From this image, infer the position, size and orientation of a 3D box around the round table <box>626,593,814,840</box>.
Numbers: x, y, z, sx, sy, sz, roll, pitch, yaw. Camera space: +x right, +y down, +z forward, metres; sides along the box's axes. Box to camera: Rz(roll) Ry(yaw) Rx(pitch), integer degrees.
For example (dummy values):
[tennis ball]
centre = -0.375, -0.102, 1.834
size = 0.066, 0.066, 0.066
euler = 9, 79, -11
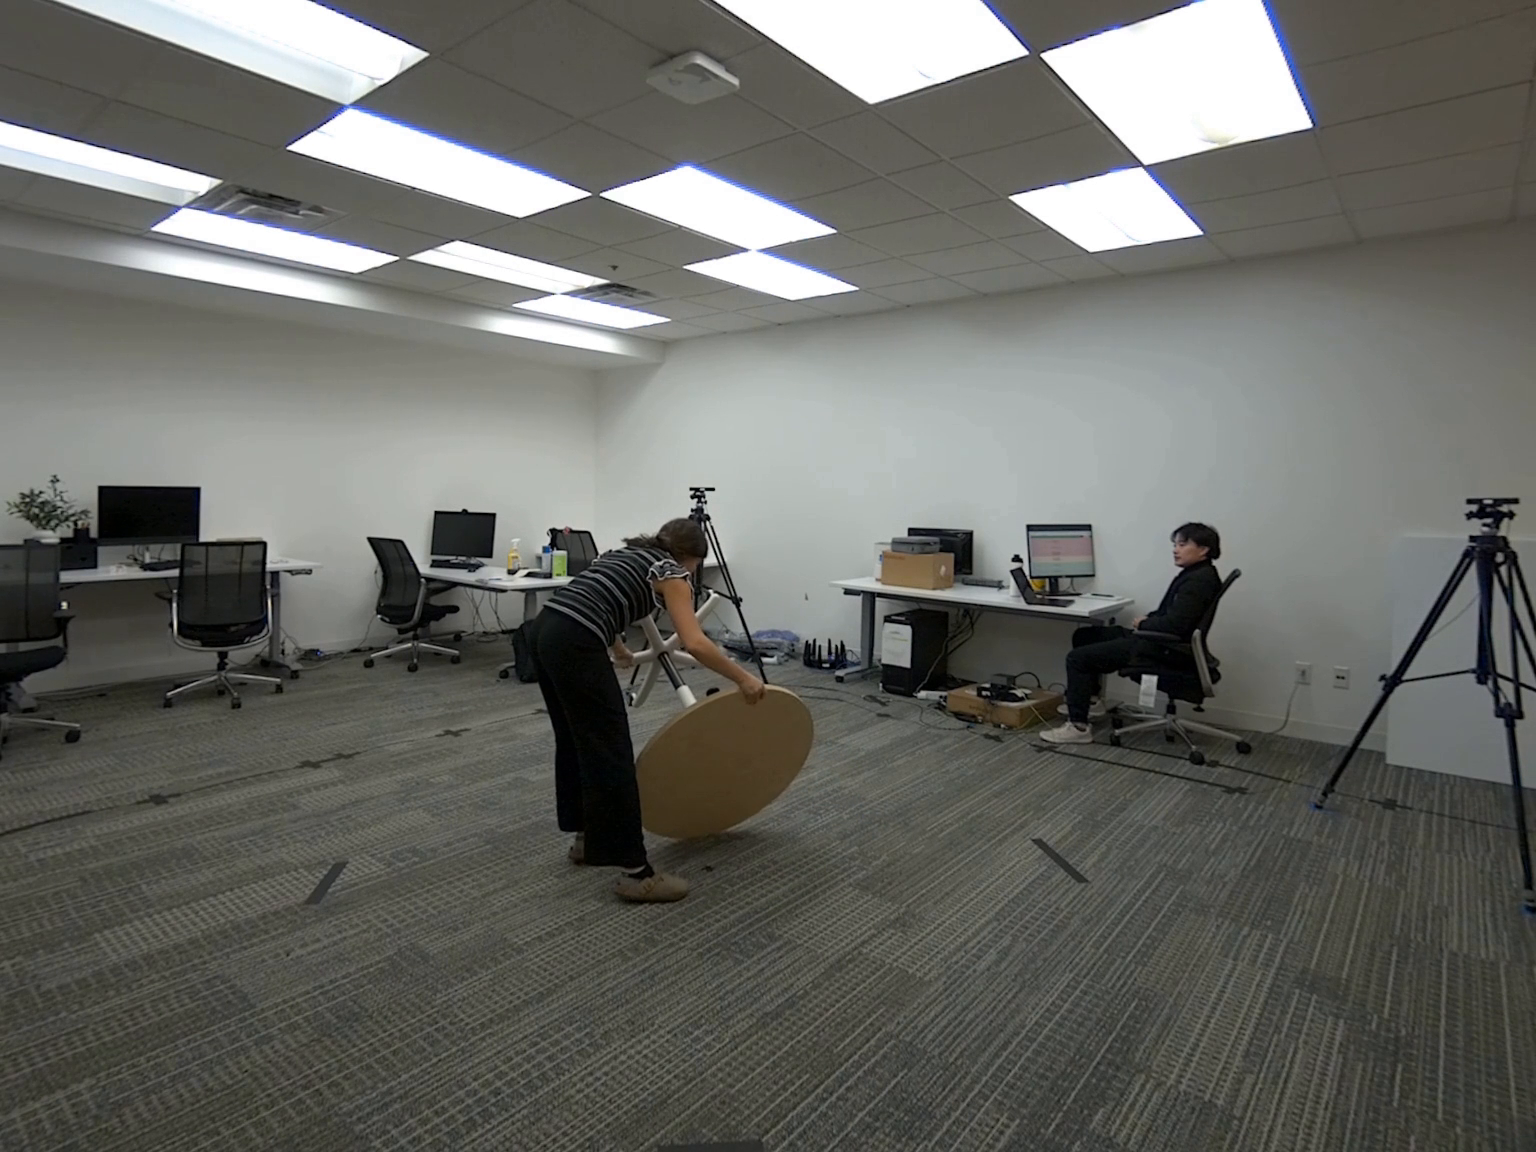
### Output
[round table]
centre = -0.350, 0.500, 3.514
size = 0.744, 0.752, 0.828
euler = -1, 33, -30
